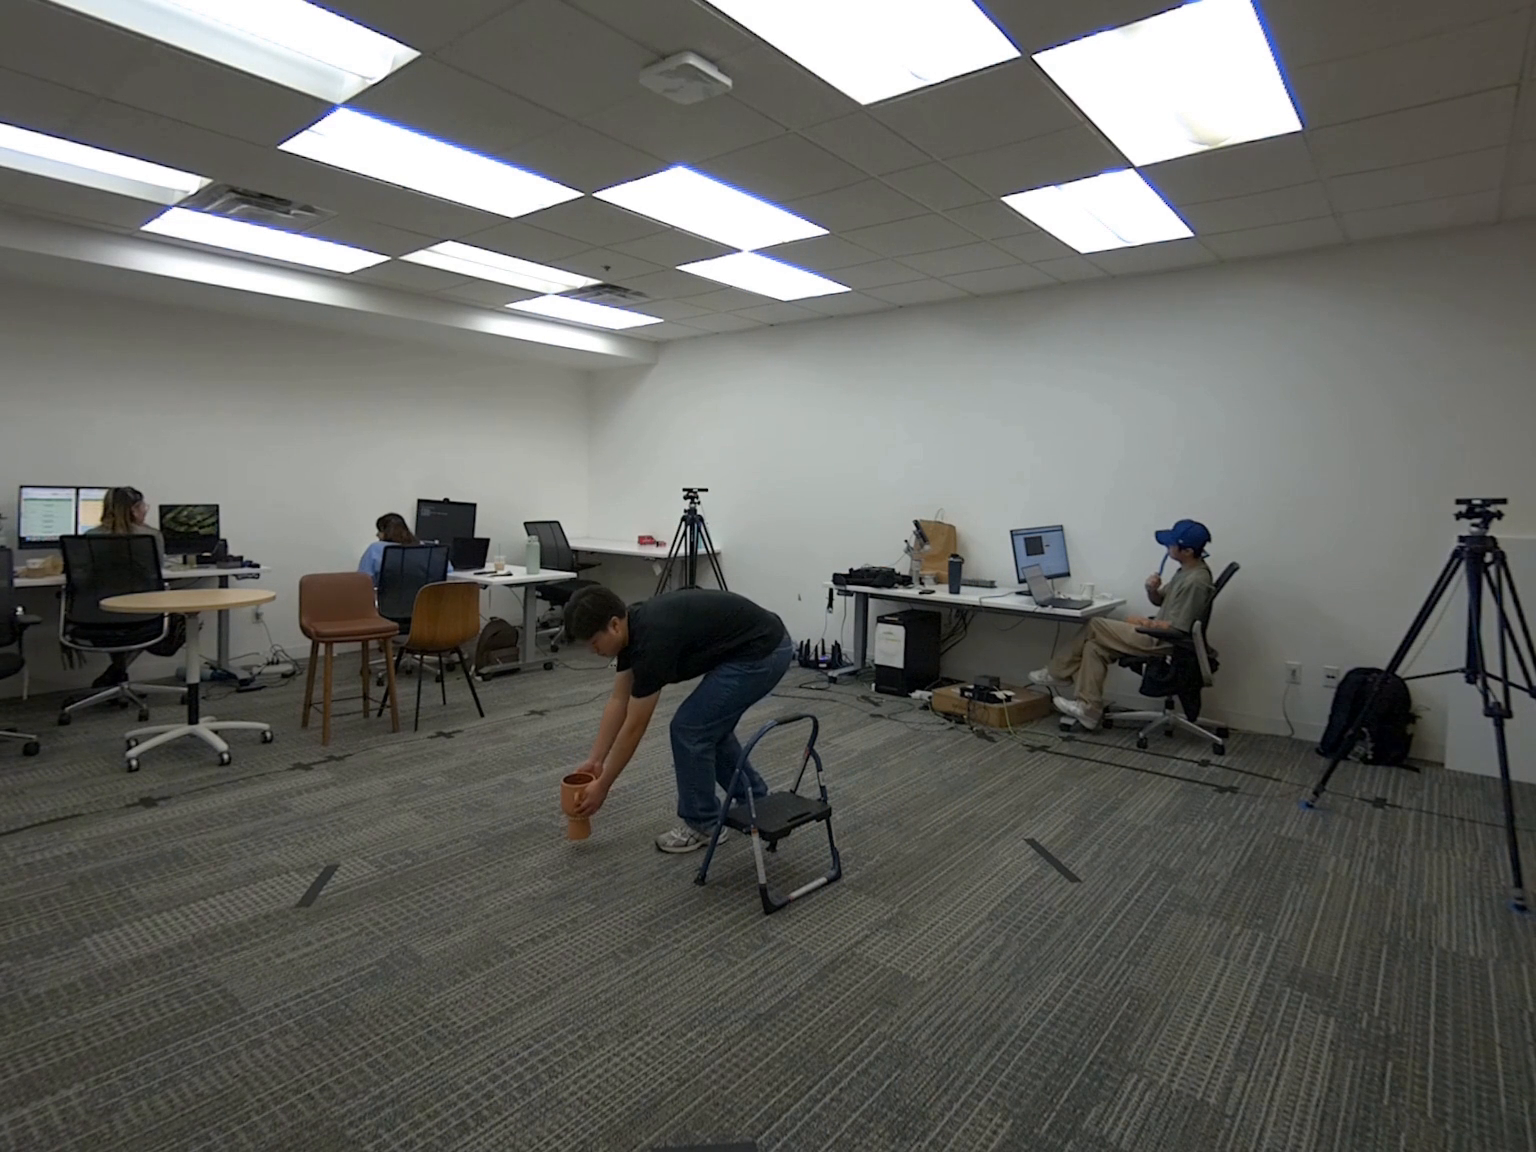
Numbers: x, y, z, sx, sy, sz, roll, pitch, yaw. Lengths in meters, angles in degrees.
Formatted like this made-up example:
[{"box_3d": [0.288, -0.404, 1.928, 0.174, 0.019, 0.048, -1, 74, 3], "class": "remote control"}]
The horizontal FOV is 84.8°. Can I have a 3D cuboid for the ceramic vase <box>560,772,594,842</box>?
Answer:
[{"box_3d": [-0.734, 0.882, 3.277, 0.139, 0.218, 0.155, 4, 8, 31], "class": "ceramic vase"}]
